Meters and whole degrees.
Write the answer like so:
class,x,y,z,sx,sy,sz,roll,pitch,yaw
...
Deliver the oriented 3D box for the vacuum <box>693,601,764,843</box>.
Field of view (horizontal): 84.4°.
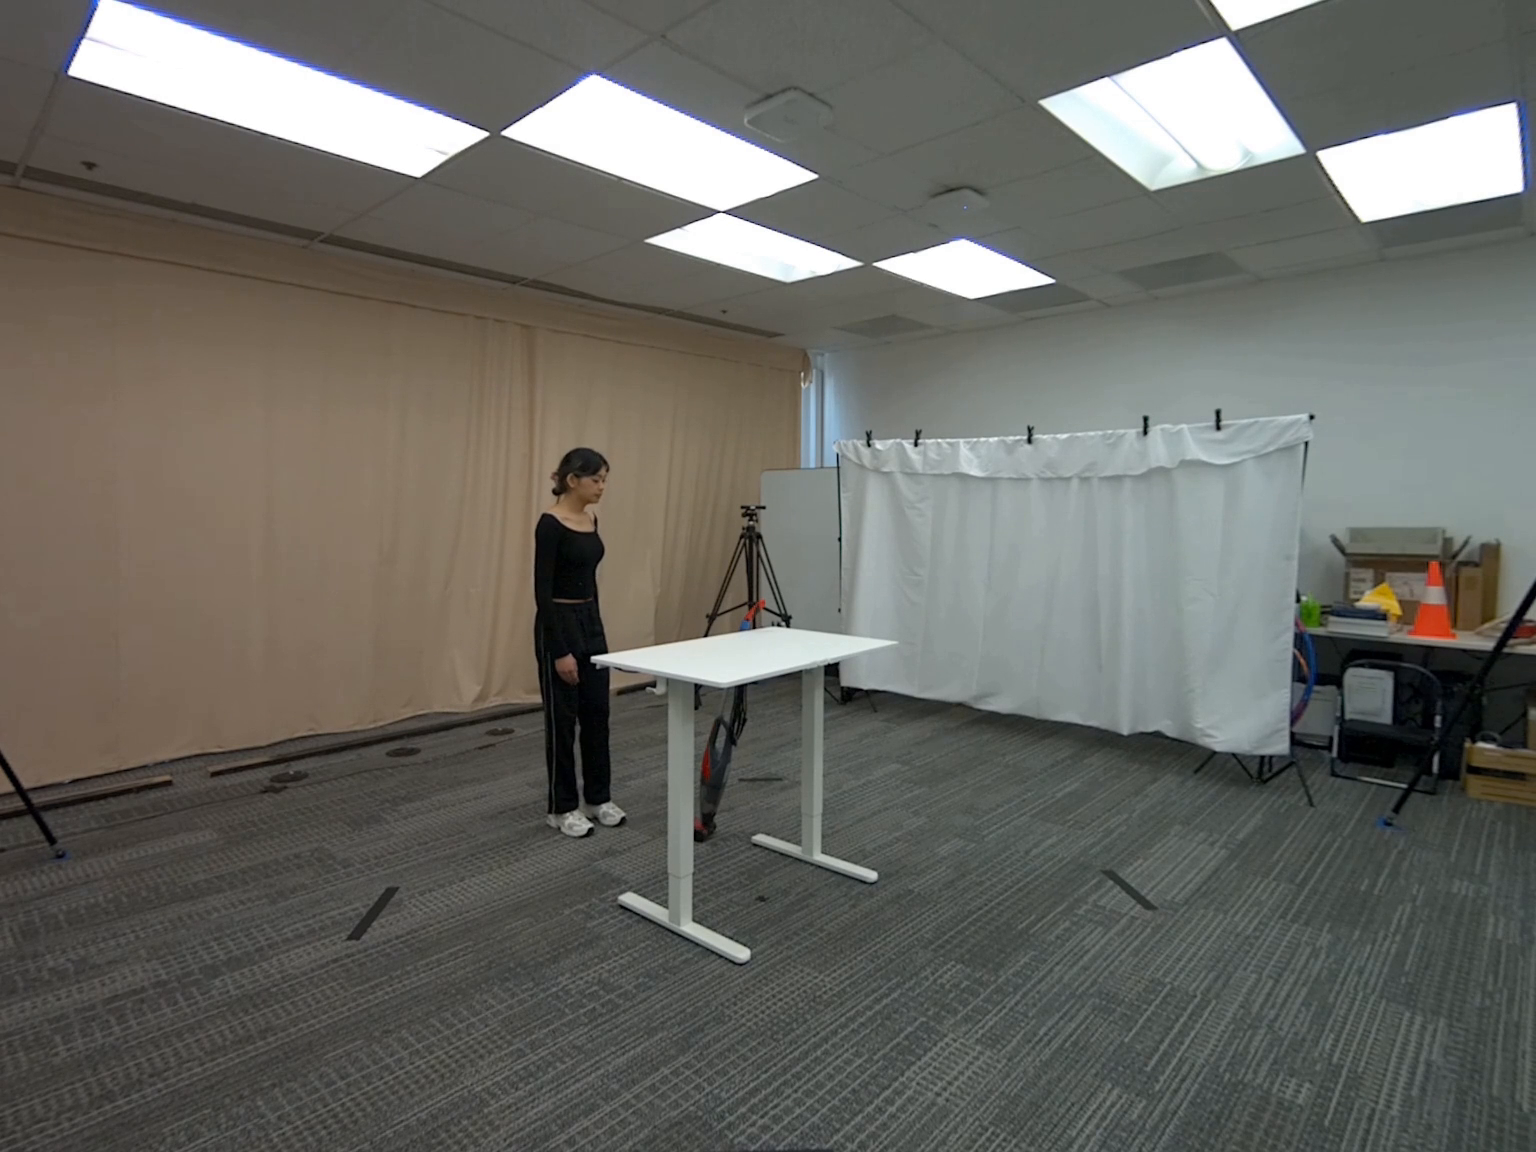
class,x,y,z,sx,sy,sz,roll,pitch,yaw
vacuum,-0.166,0.608,3.486,0.148,1.046,0.246,20,11,23
